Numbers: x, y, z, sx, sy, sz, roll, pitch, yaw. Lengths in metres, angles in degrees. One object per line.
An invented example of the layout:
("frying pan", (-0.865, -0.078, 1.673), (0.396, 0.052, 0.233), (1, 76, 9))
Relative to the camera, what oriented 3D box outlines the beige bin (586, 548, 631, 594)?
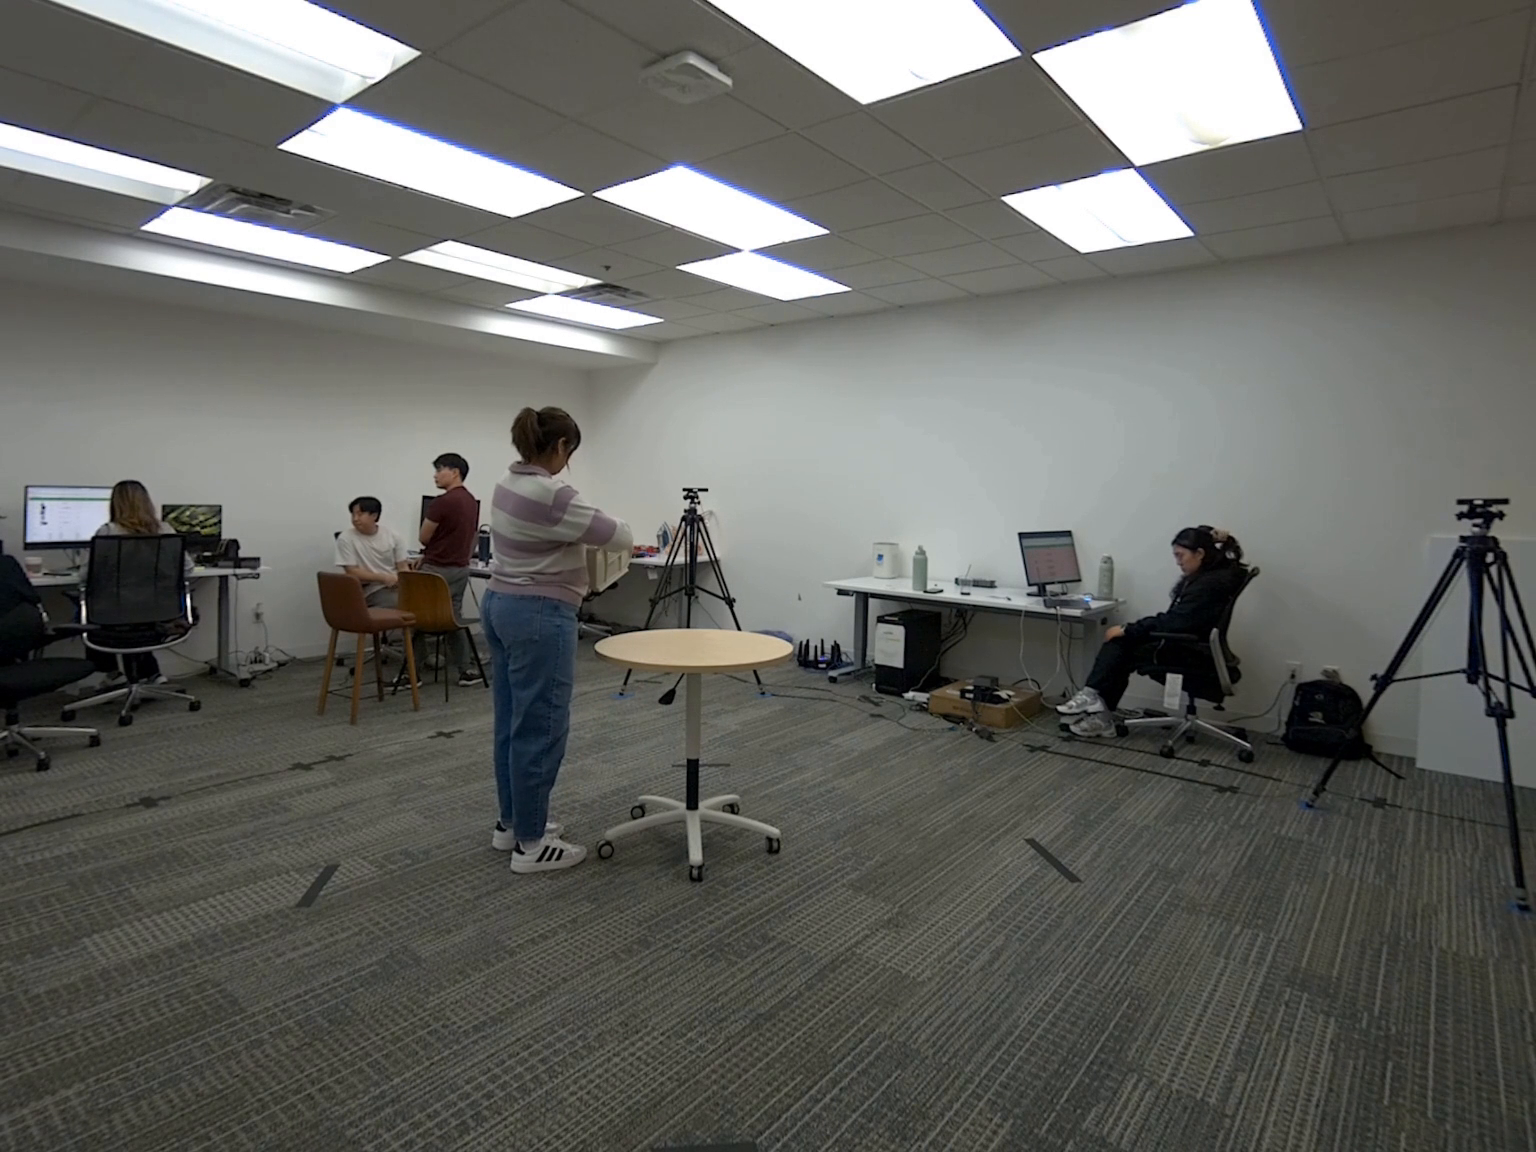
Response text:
("beige bin", (-0.822, -0.081, 3.462), (0.428, 0.186, 0.377), (4, 16, 12))
